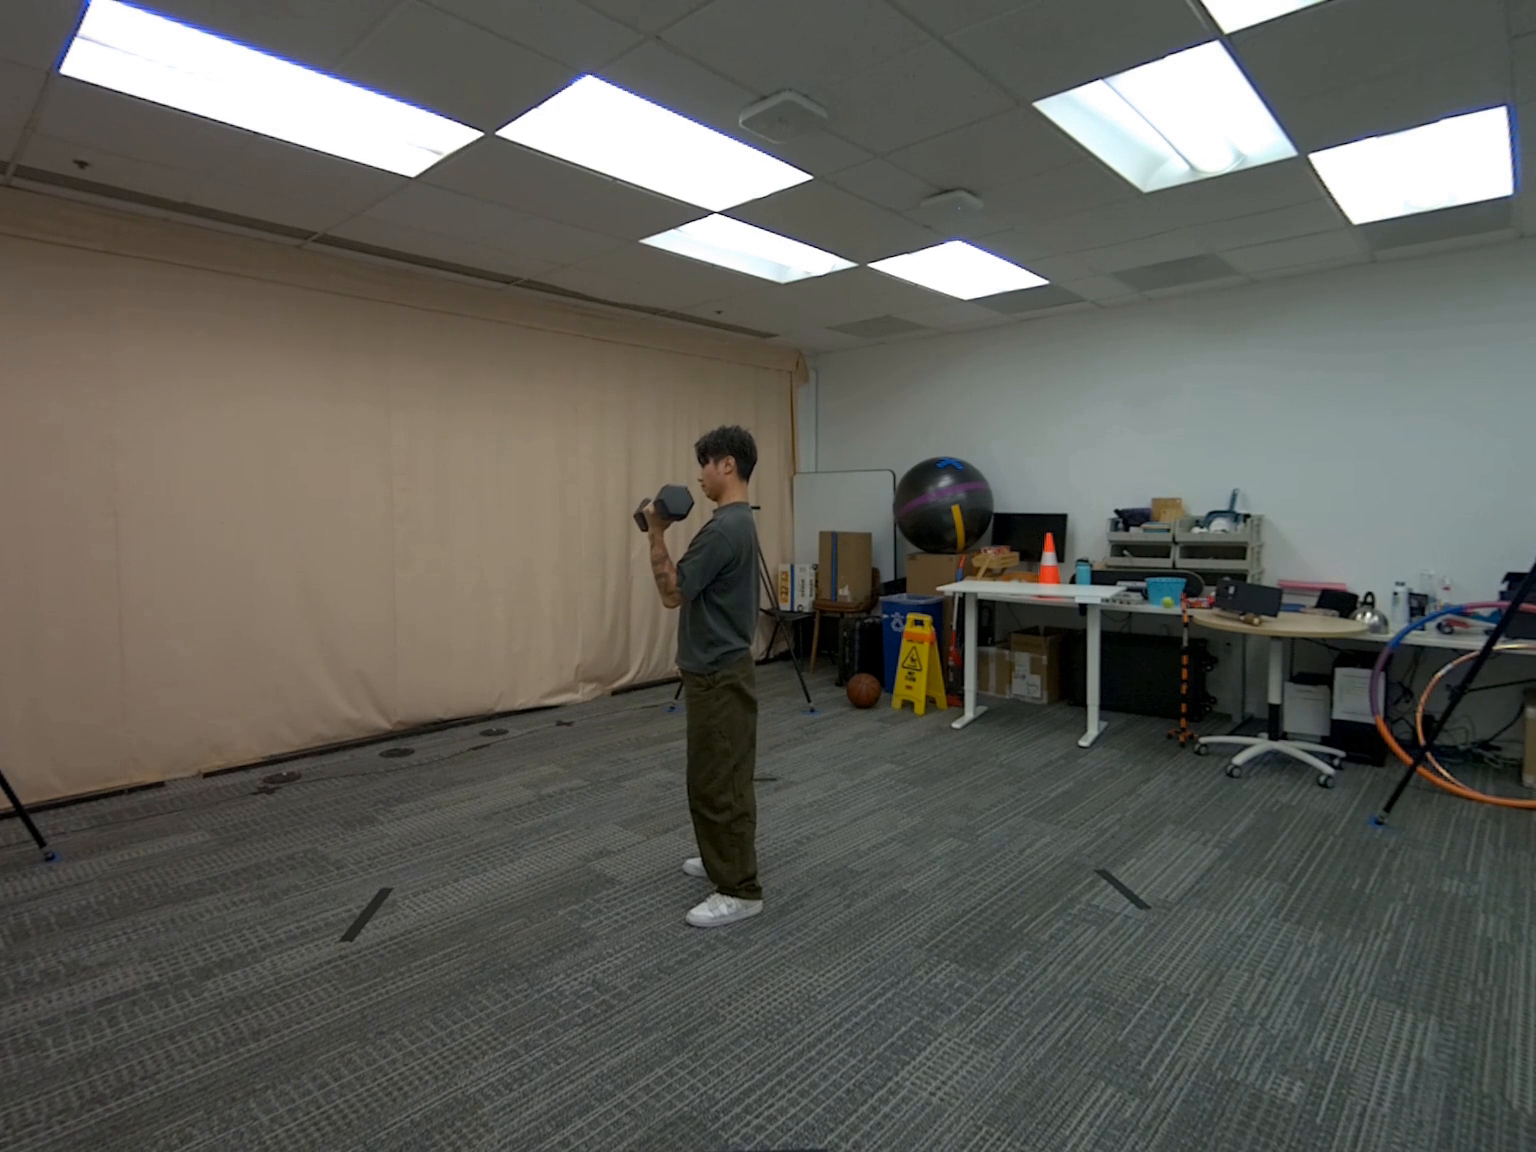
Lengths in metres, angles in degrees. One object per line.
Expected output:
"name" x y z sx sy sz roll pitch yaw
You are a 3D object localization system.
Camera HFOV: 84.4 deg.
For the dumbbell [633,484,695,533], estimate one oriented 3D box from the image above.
"dumbbell" -0.357 -0.219 2.754 0.120 0.109 0.299 1 -9 -27
